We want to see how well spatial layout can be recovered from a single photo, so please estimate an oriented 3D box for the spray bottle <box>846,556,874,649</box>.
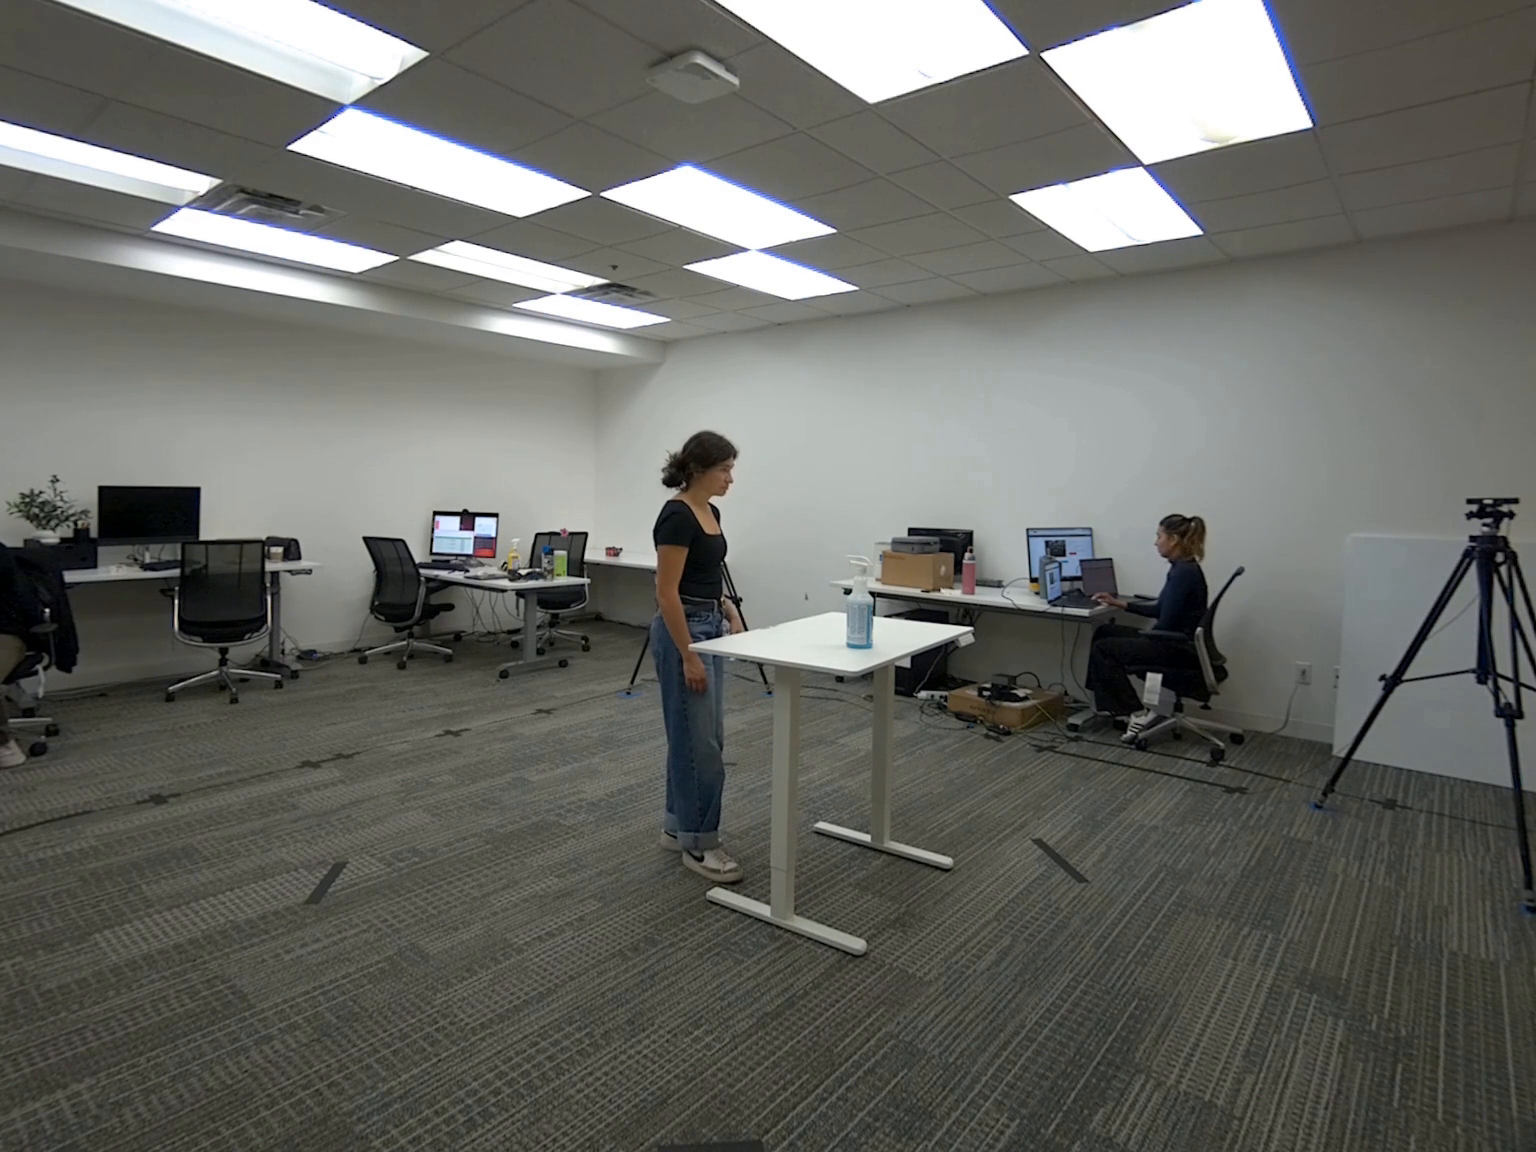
[{"bbox_3d":[0.297,0.083,2.768,0.084,0.297,0.093,-1,2,-33],"label":"spray bottle"}]
